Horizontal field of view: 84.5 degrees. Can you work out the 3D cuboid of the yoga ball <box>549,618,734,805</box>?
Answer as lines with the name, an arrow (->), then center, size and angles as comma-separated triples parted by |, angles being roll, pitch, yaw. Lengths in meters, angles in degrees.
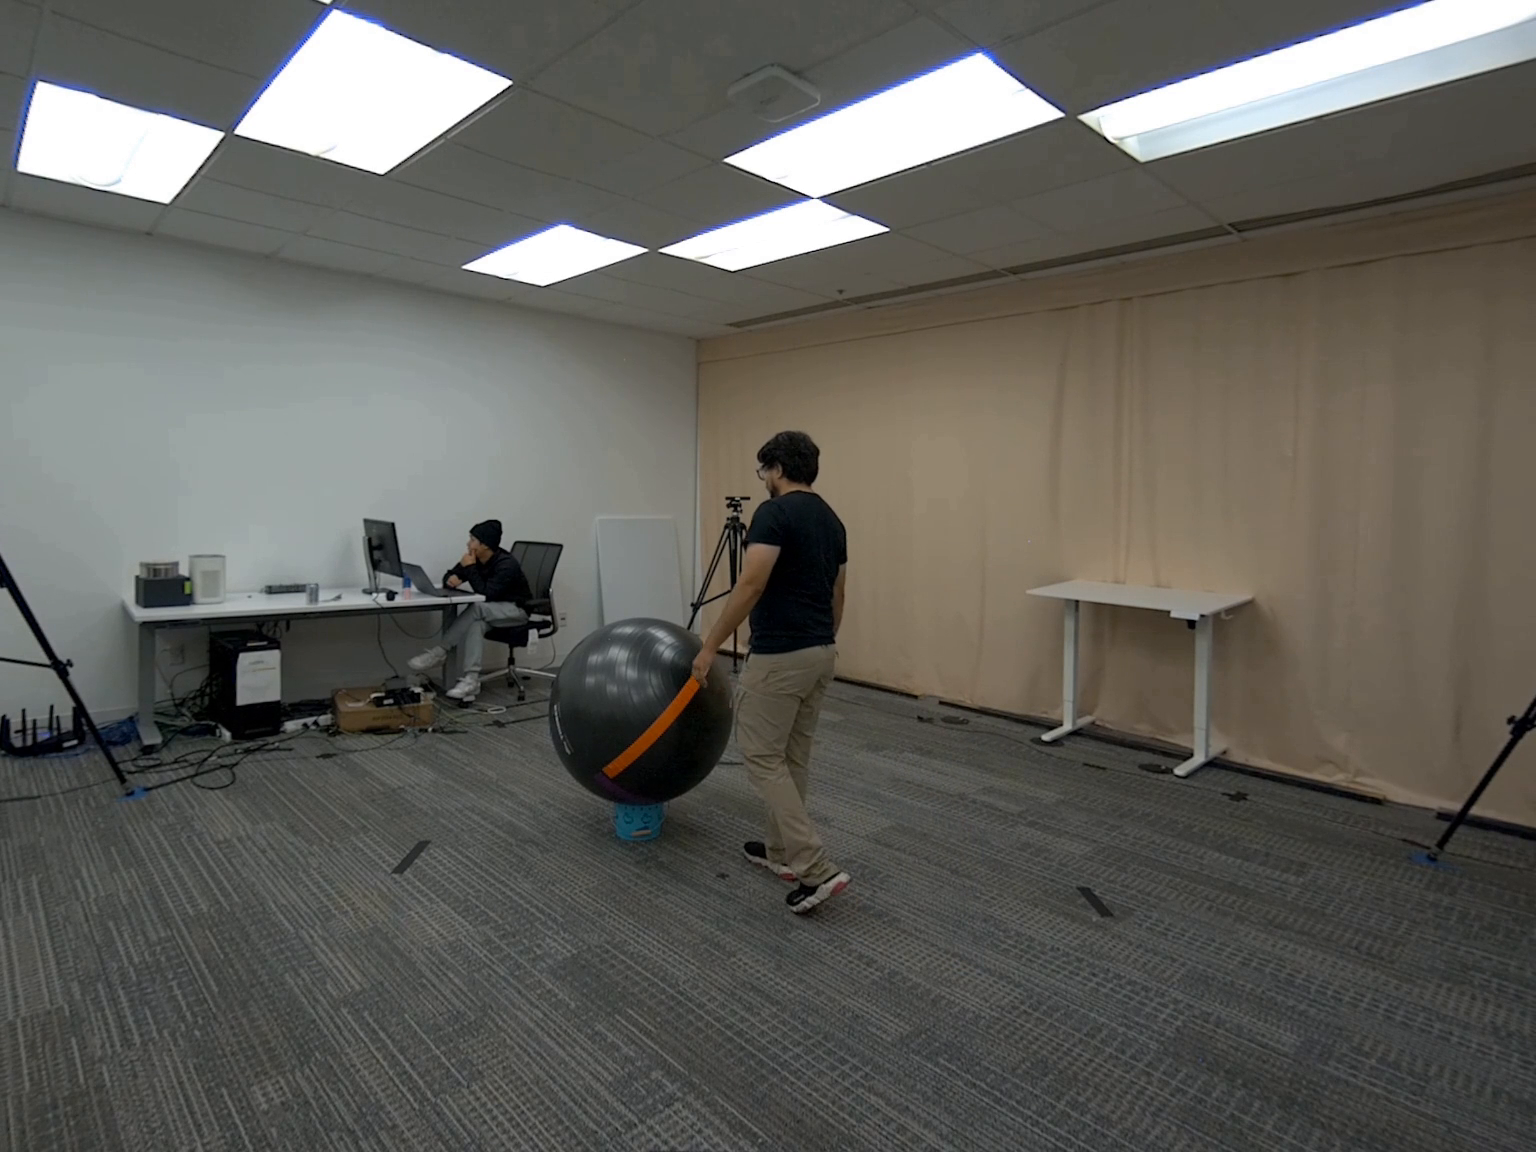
yoga ball -> -0.531, 0.557, 3.485 | 0.757, 0.756, 0.761 | 1, 4, -1
